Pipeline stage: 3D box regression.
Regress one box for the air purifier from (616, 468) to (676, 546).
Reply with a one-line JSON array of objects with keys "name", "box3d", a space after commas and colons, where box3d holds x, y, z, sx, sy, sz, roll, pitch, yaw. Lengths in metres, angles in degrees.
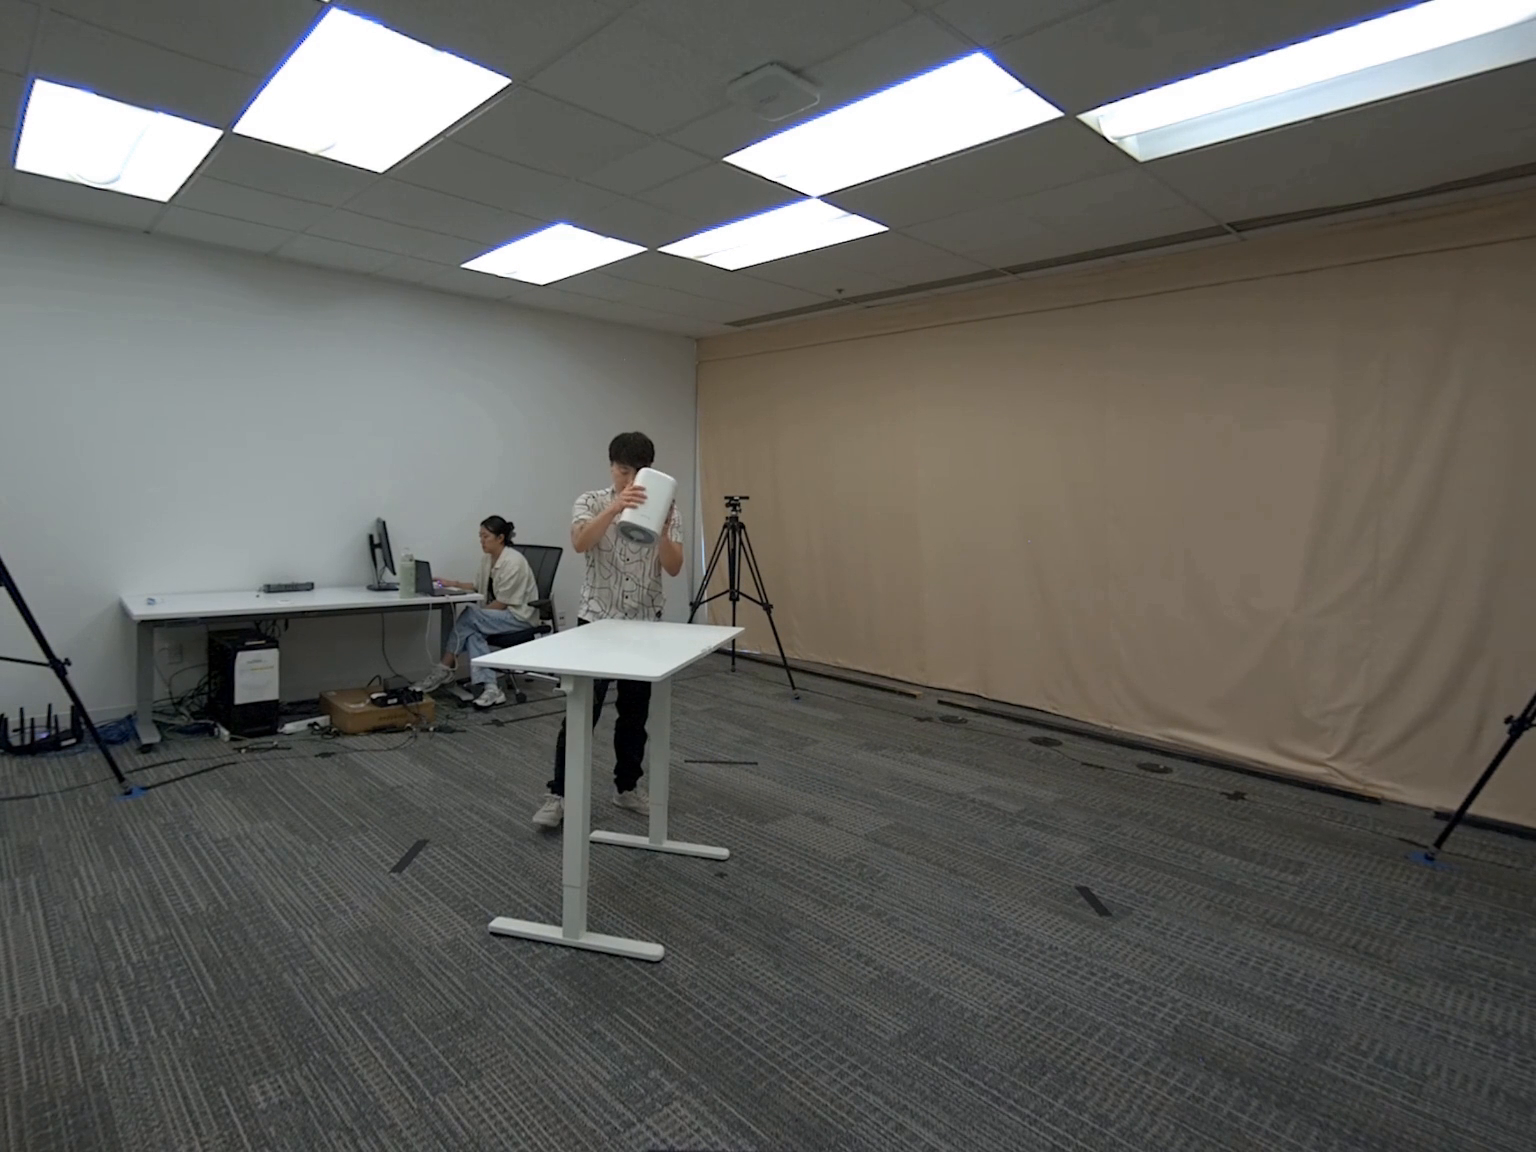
[{"name": "air purifier", "box3d": [-0.489, -0.273, 3.321, 0.170, 0.268, 0.171, 19, -26, -6]}]
